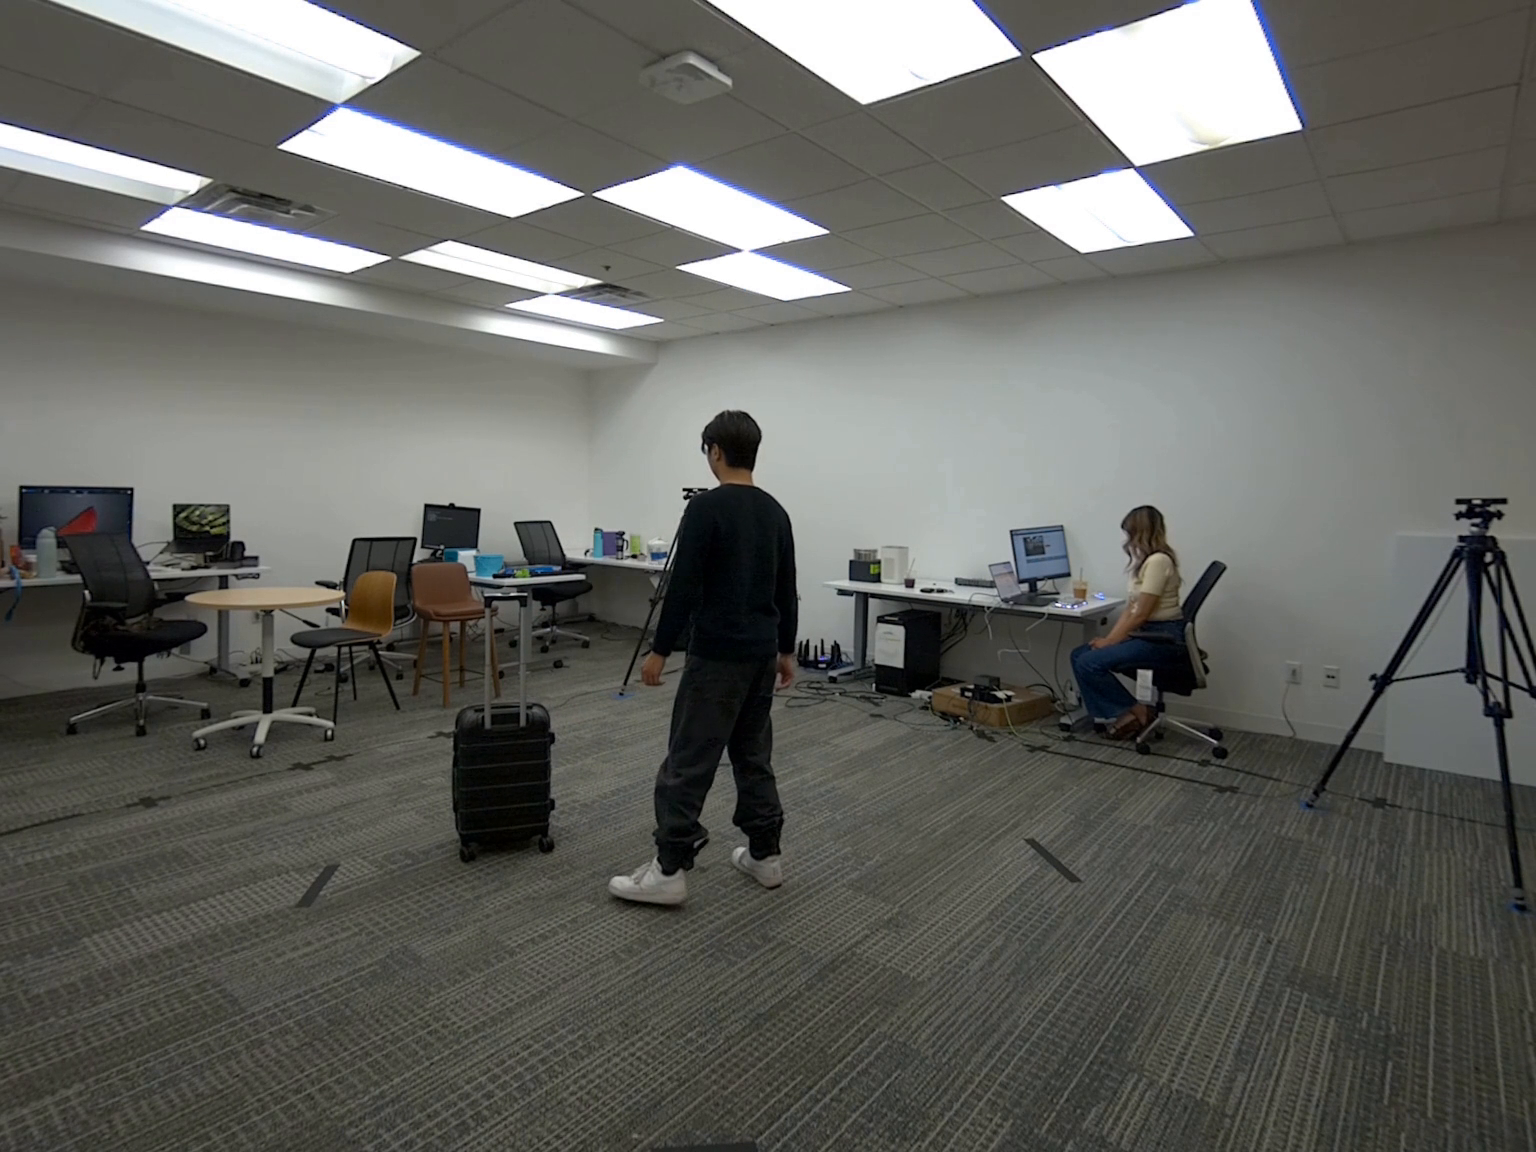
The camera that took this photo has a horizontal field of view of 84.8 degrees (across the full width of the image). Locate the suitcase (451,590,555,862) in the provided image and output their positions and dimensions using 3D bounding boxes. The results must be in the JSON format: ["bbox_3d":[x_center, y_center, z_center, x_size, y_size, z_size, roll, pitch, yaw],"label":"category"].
[{"bbox_3d":[-1.051,0.565,3.303,0.377,0.977,0.262,-1,1,-18],"label":"suitcase"}]
